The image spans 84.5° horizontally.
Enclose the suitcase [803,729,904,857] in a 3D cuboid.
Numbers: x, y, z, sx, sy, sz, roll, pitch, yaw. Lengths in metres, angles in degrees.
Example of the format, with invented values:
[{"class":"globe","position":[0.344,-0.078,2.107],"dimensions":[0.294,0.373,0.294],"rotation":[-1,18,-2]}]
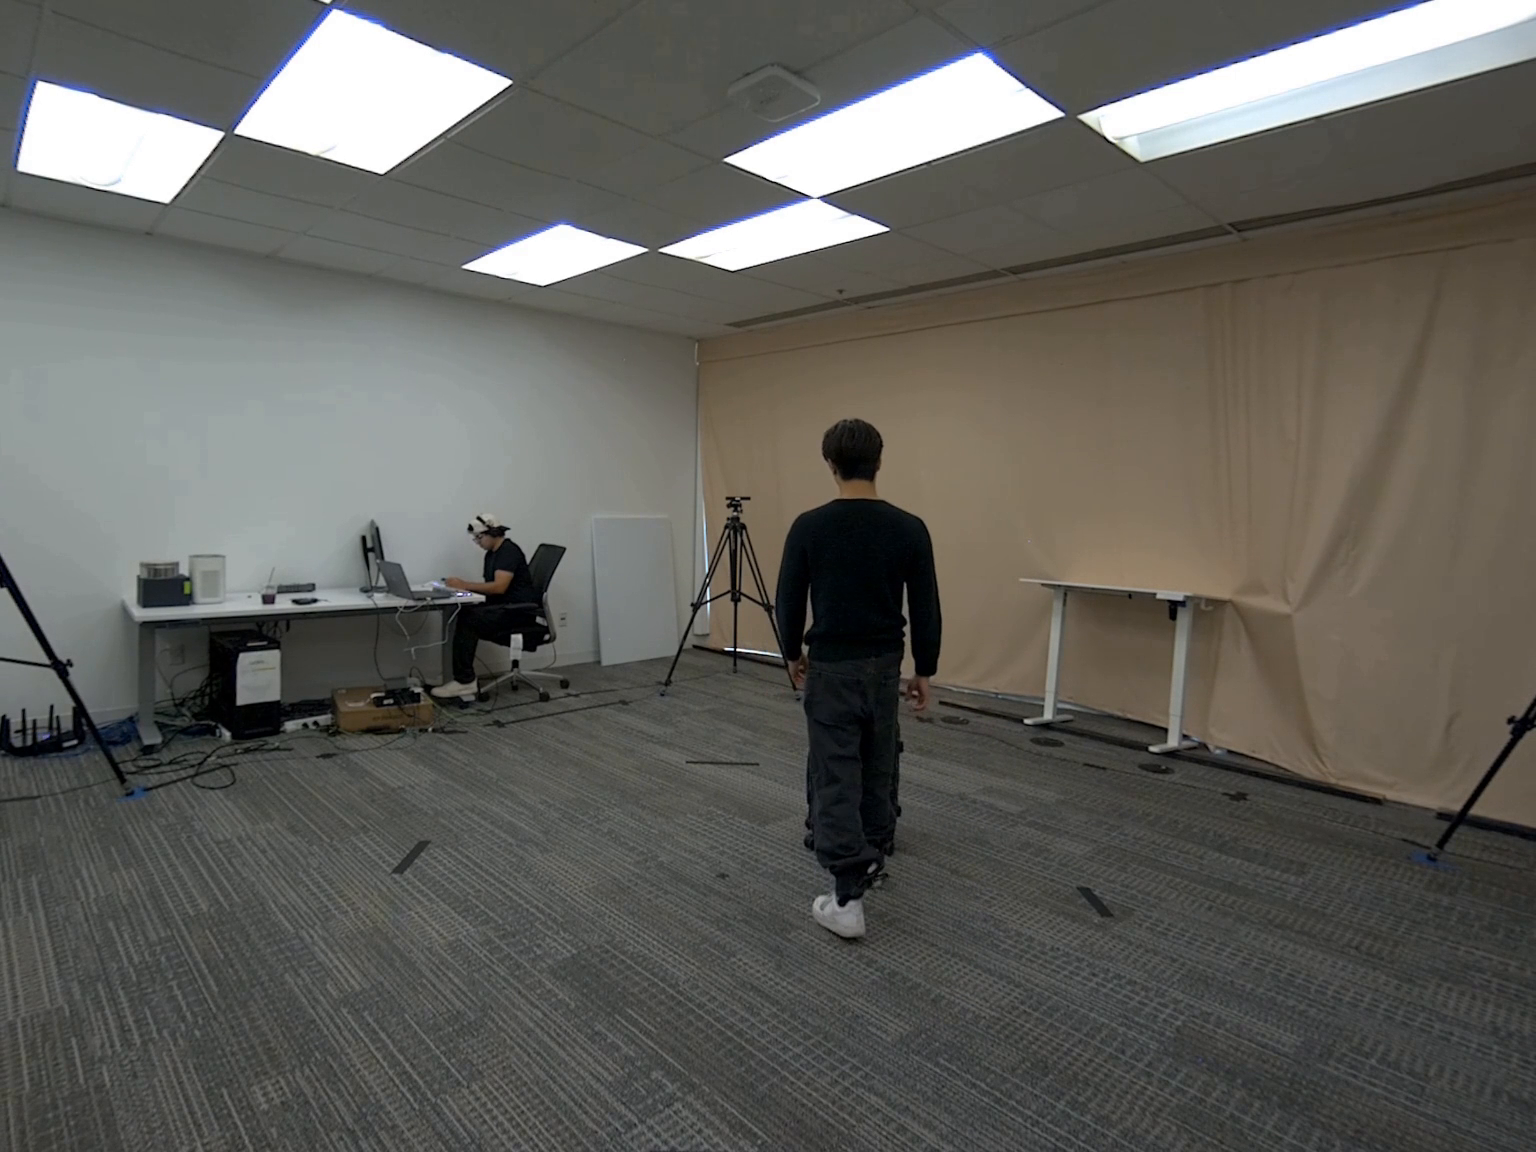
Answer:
[{"class":"suitcase","position":[0.356,0.612,3.449],"dimensions":[0.386,0.978,0.256],"rotation":[2,1,6]}]
